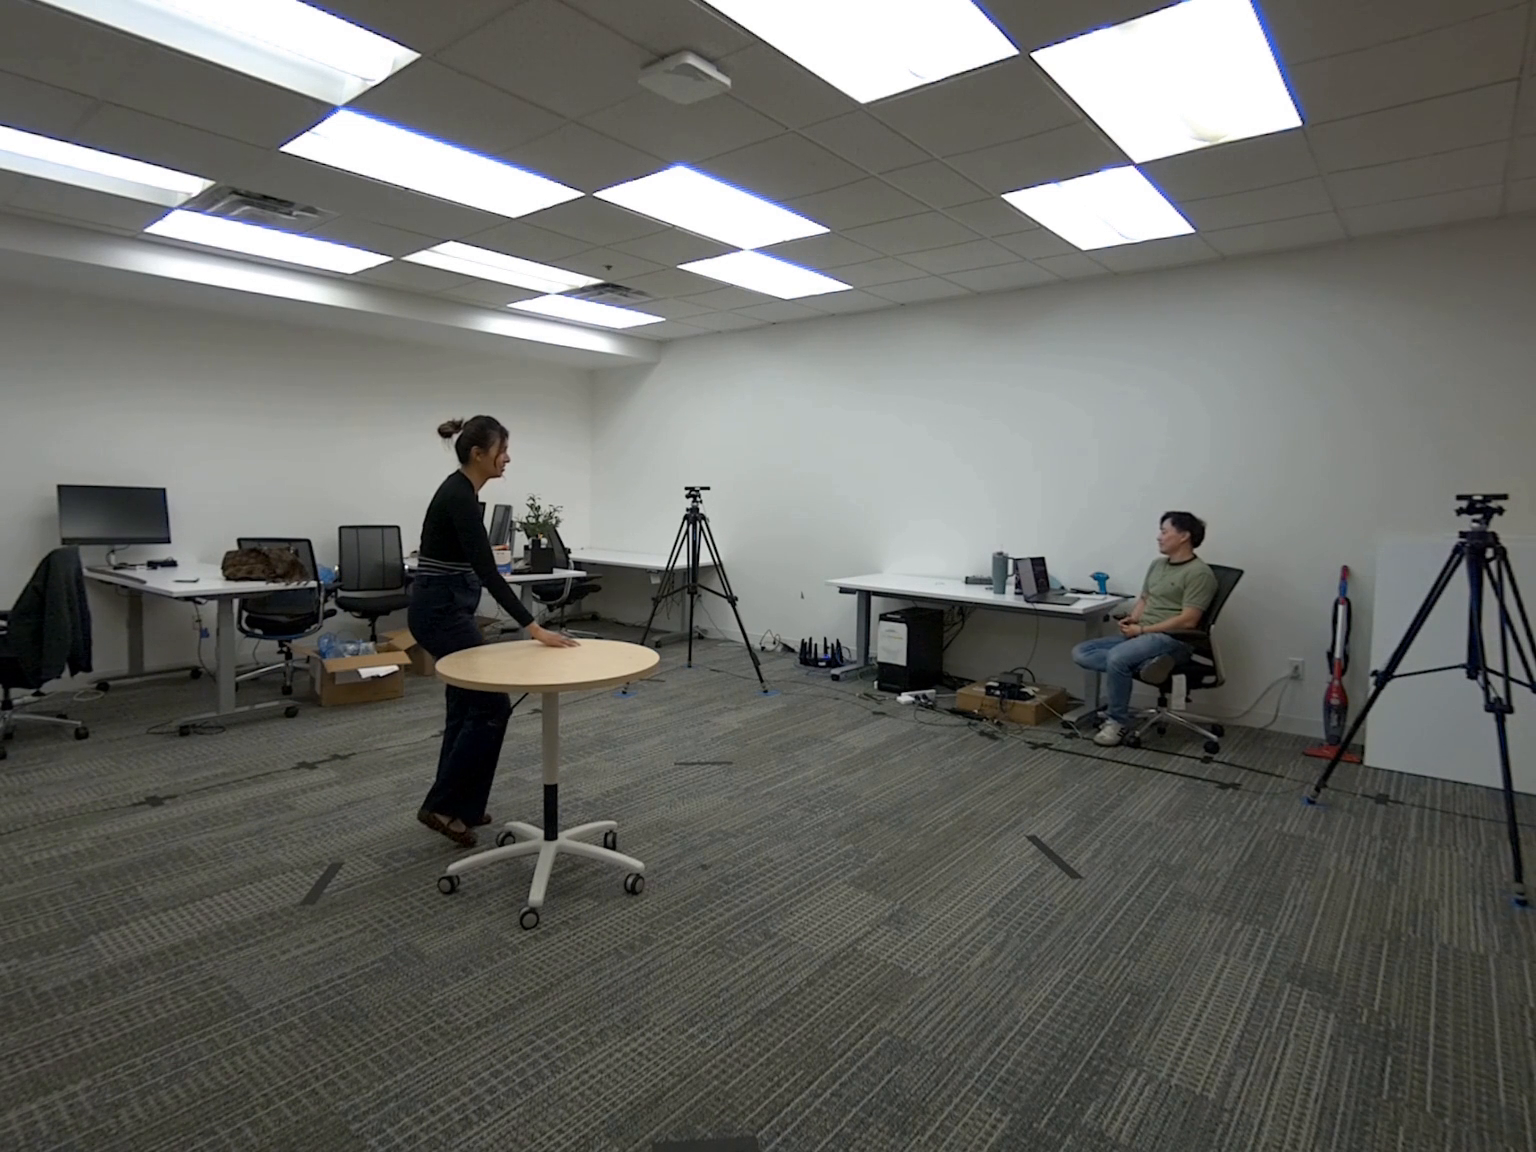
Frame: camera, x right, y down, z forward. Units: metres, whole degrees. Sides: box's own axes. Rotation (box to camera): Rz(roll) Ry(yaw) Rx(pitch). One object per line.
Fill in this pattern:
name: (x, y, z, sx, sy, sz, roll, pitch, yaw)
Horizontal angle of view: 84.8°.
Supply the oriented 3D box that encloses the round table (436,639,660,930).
round table: (-0.776, 0.680, 2.998, 0.763, 0.791, 0.768, 0, 4, -2)
